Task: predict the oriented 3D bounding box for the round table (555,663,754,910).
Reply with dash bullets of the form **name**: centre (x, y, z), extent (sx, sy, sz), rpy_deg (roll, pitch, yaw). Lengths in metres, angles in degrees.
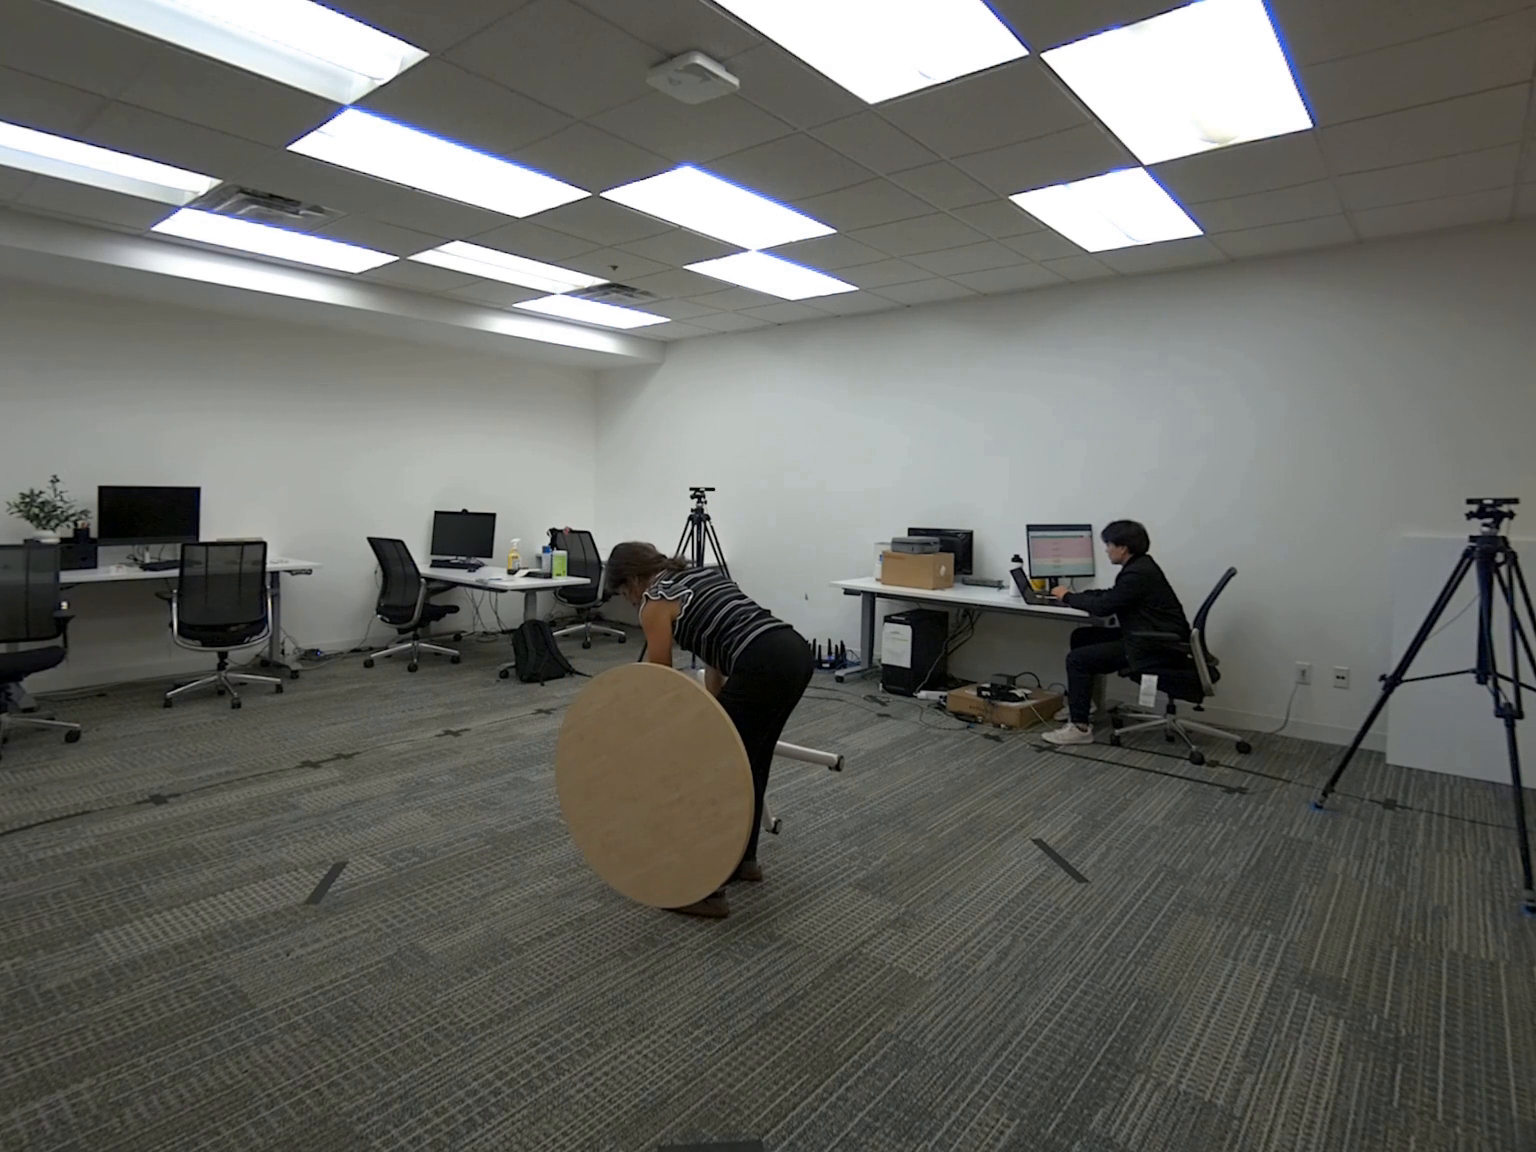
- **round table**: centre (-0.216, 0.655, 3.055), extent (0.787, 0.763, 0.772), rpy_deg (3, 2, 30)
